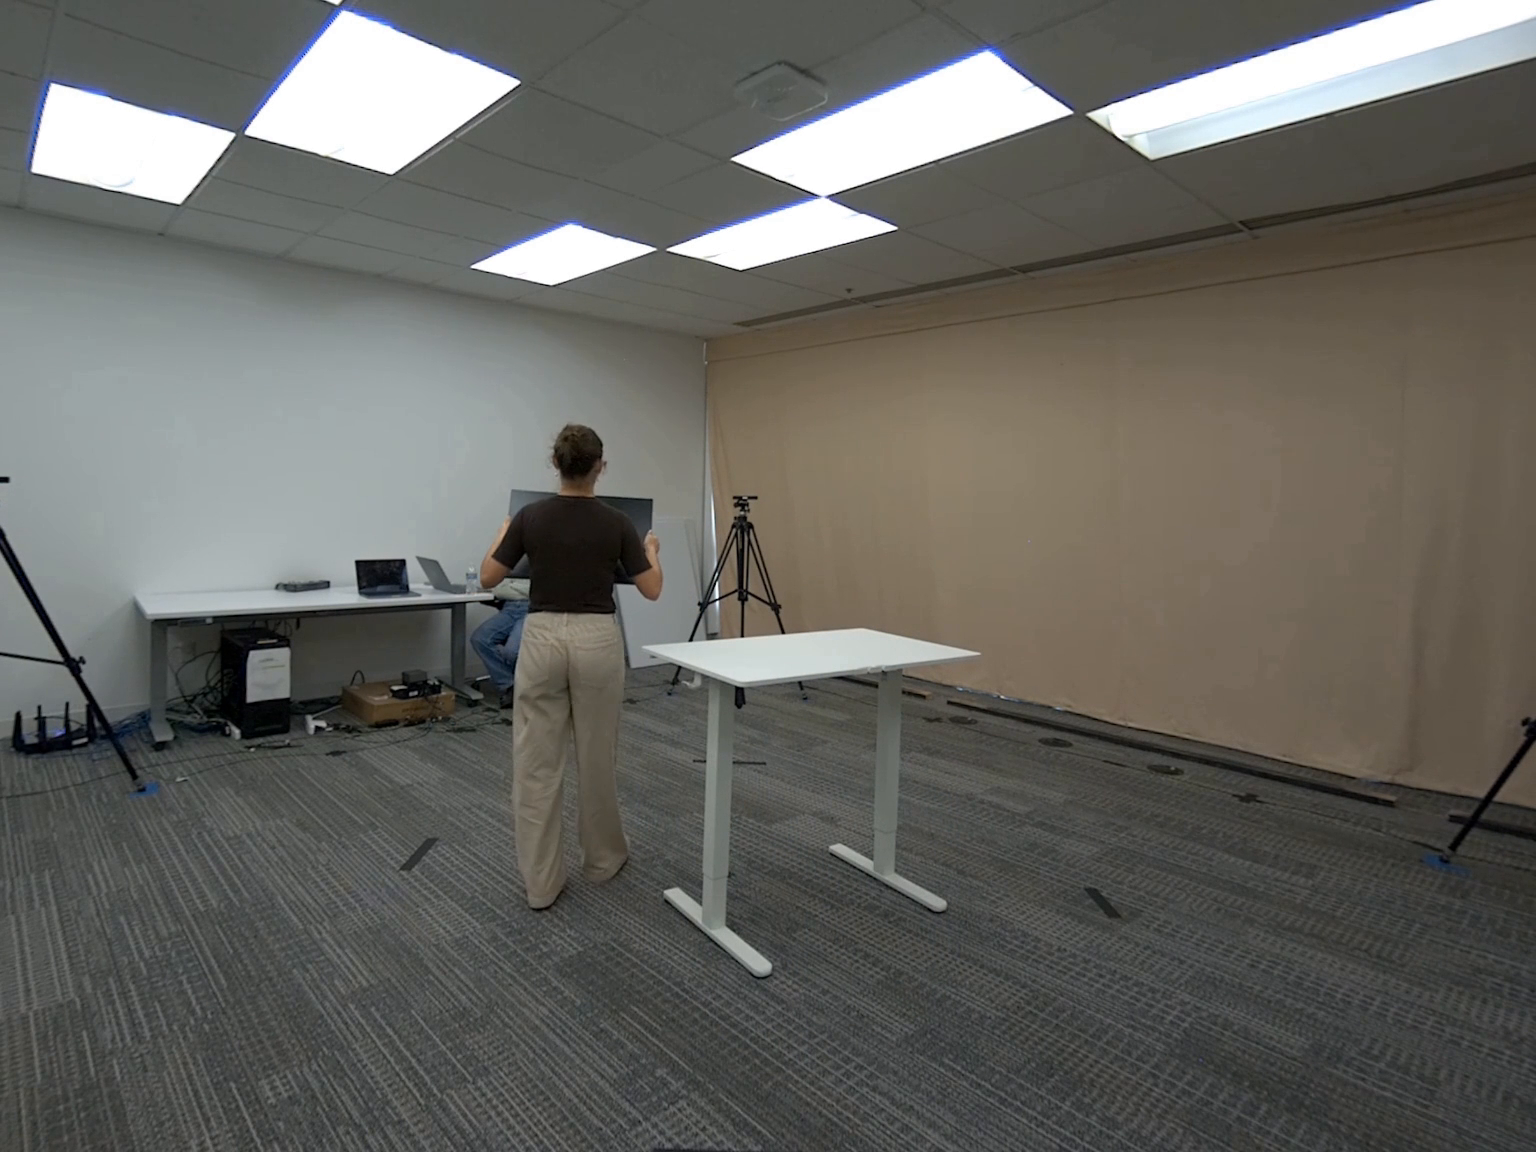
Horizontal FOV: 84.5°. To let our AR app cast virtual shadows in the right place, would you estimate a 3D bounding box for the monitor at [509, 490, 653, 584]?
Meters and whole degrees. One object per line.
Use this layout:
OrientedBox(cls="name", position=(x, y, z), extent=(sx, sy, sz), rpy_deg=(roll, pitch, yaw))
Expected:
OrientedBox(cls="monitor", position=(-0.714, -0.049, 3.173), extent=(0.534, 0.525, 0.188), rpy_deg=(3, -7, -10))
